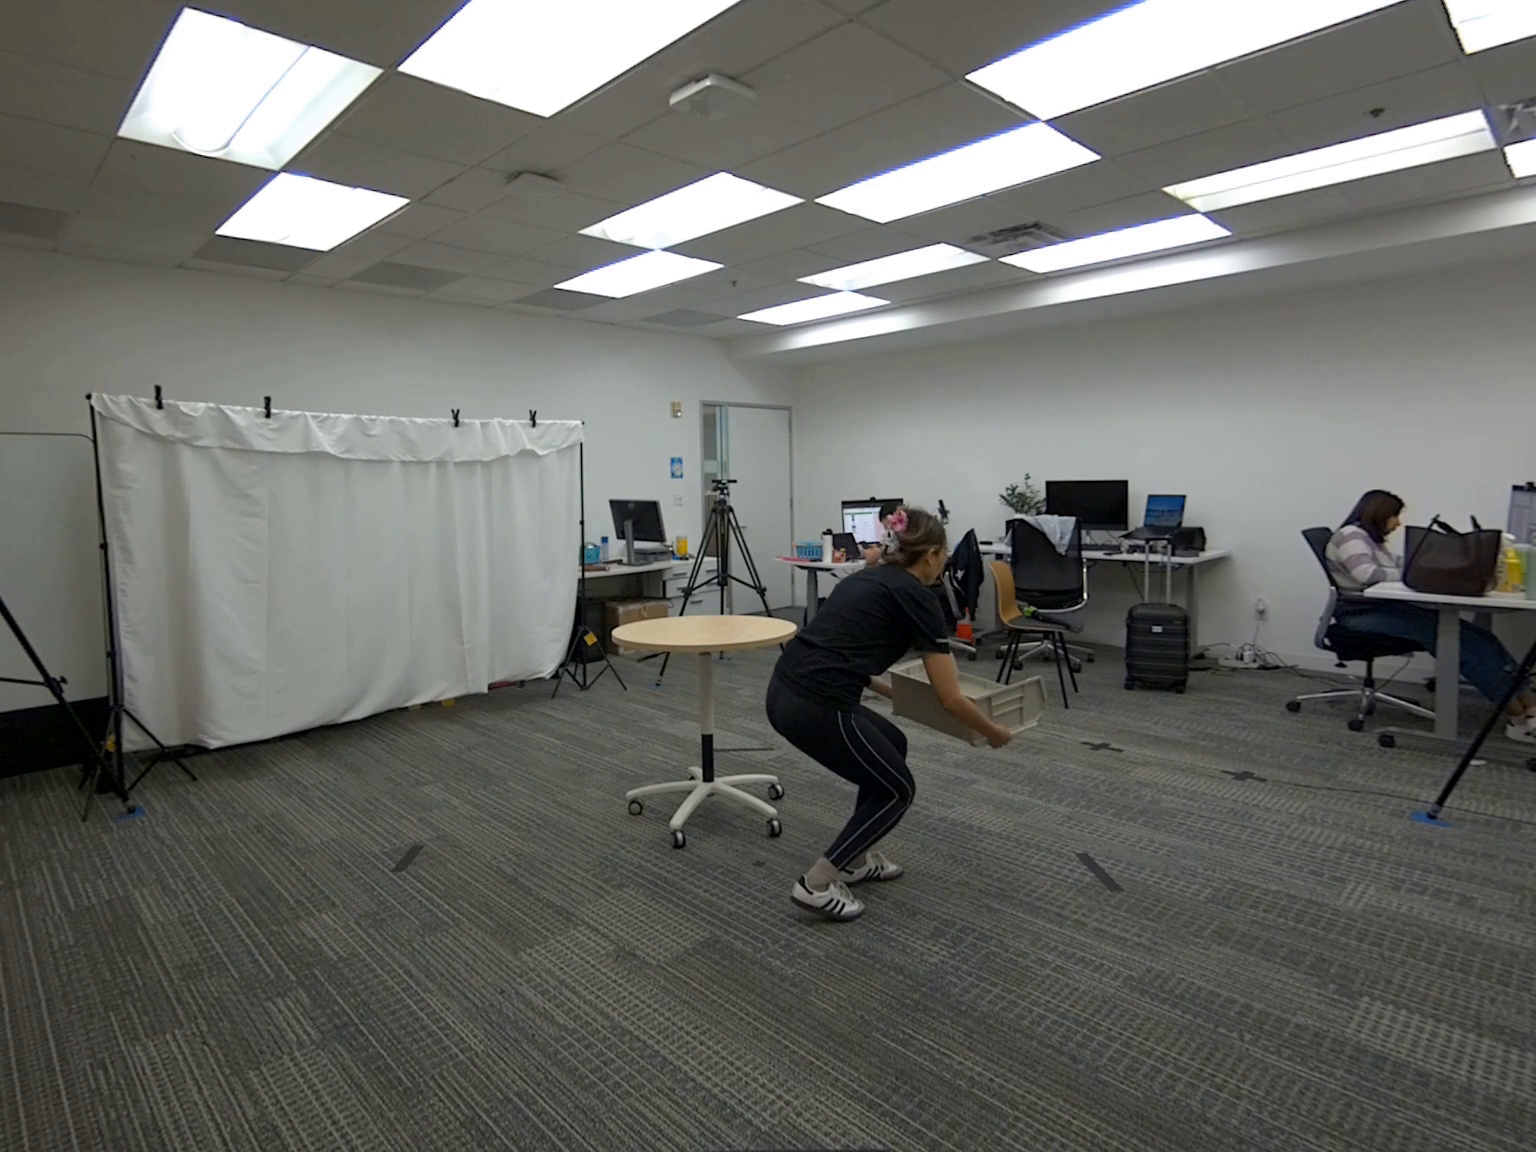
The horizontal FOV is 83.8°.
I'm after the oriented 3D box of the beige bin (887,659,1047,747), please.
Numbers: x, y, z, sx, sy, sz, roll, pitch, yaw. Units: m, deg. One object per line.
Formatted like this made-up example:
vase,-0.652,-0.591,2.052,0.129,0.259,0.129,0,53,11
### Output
beige bin,0.723,0.430,3.101,0.369,0.187,0.435,-12,13,-33
